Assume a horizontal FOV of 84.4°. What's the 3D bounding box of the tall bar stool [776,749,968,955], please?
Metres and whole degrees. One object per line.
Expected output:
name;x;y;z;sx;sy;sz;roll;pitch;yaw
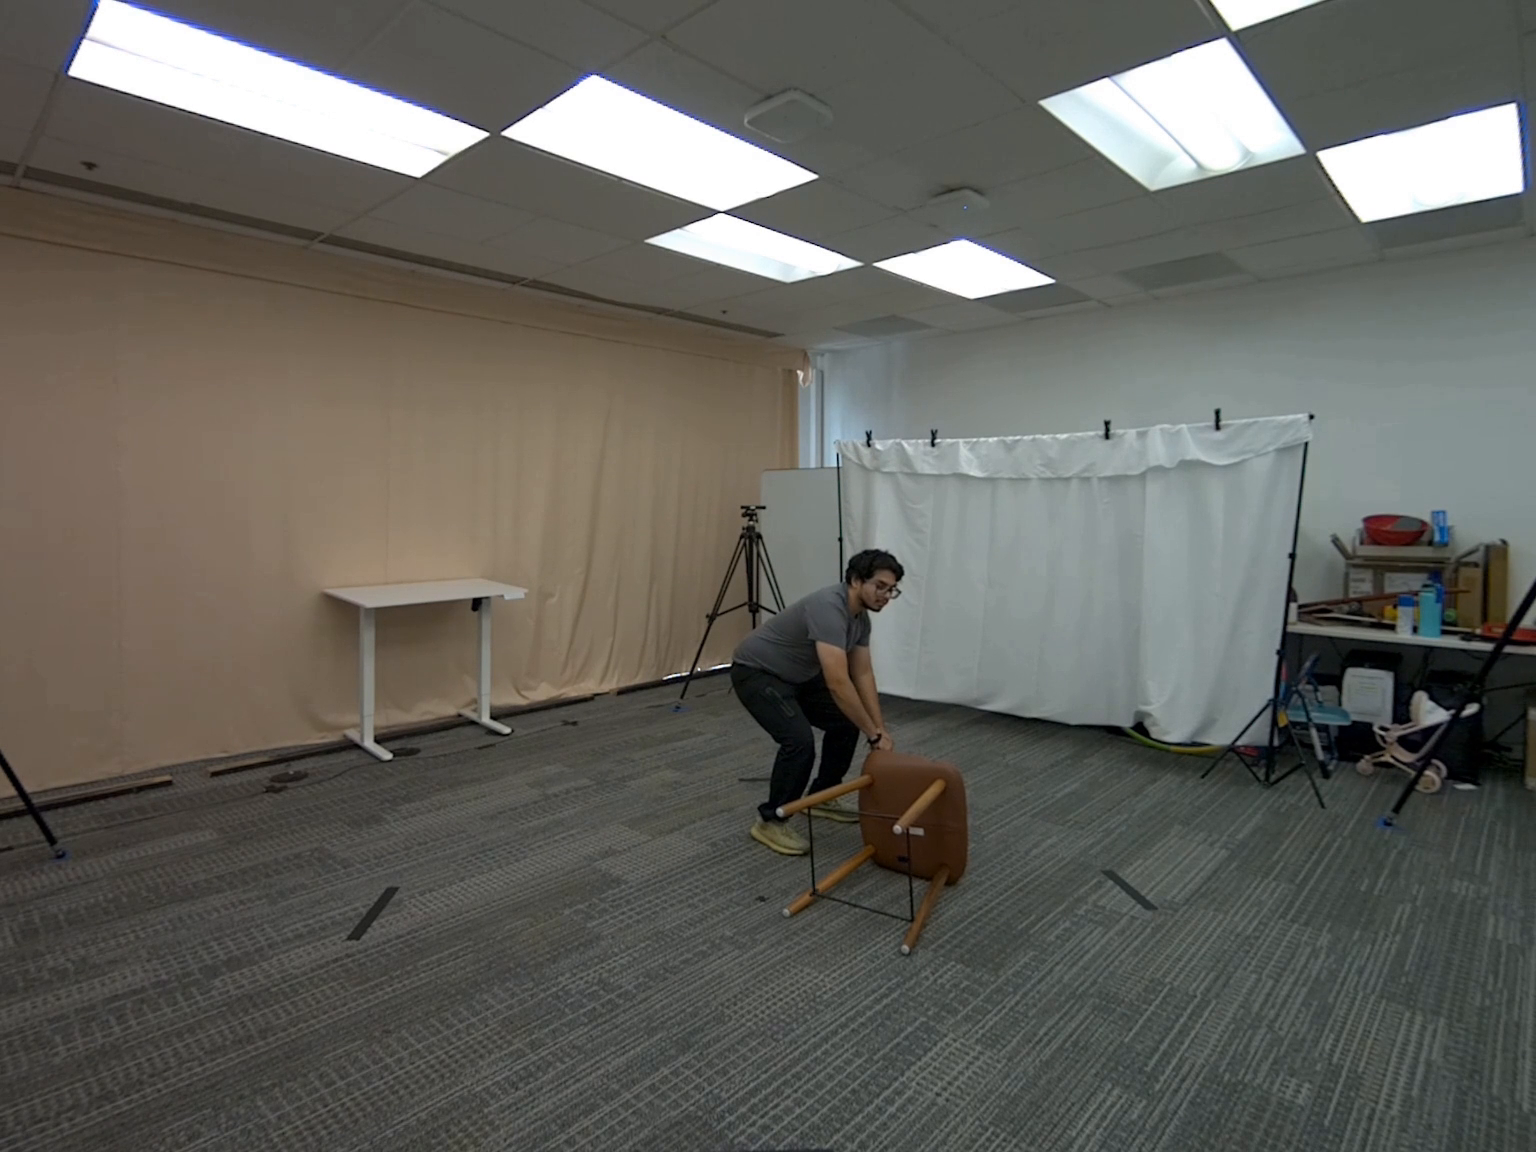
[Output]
tall bar stool;0.453;0.919;3.068;0.481;0.455;0.867;-1;5;31
